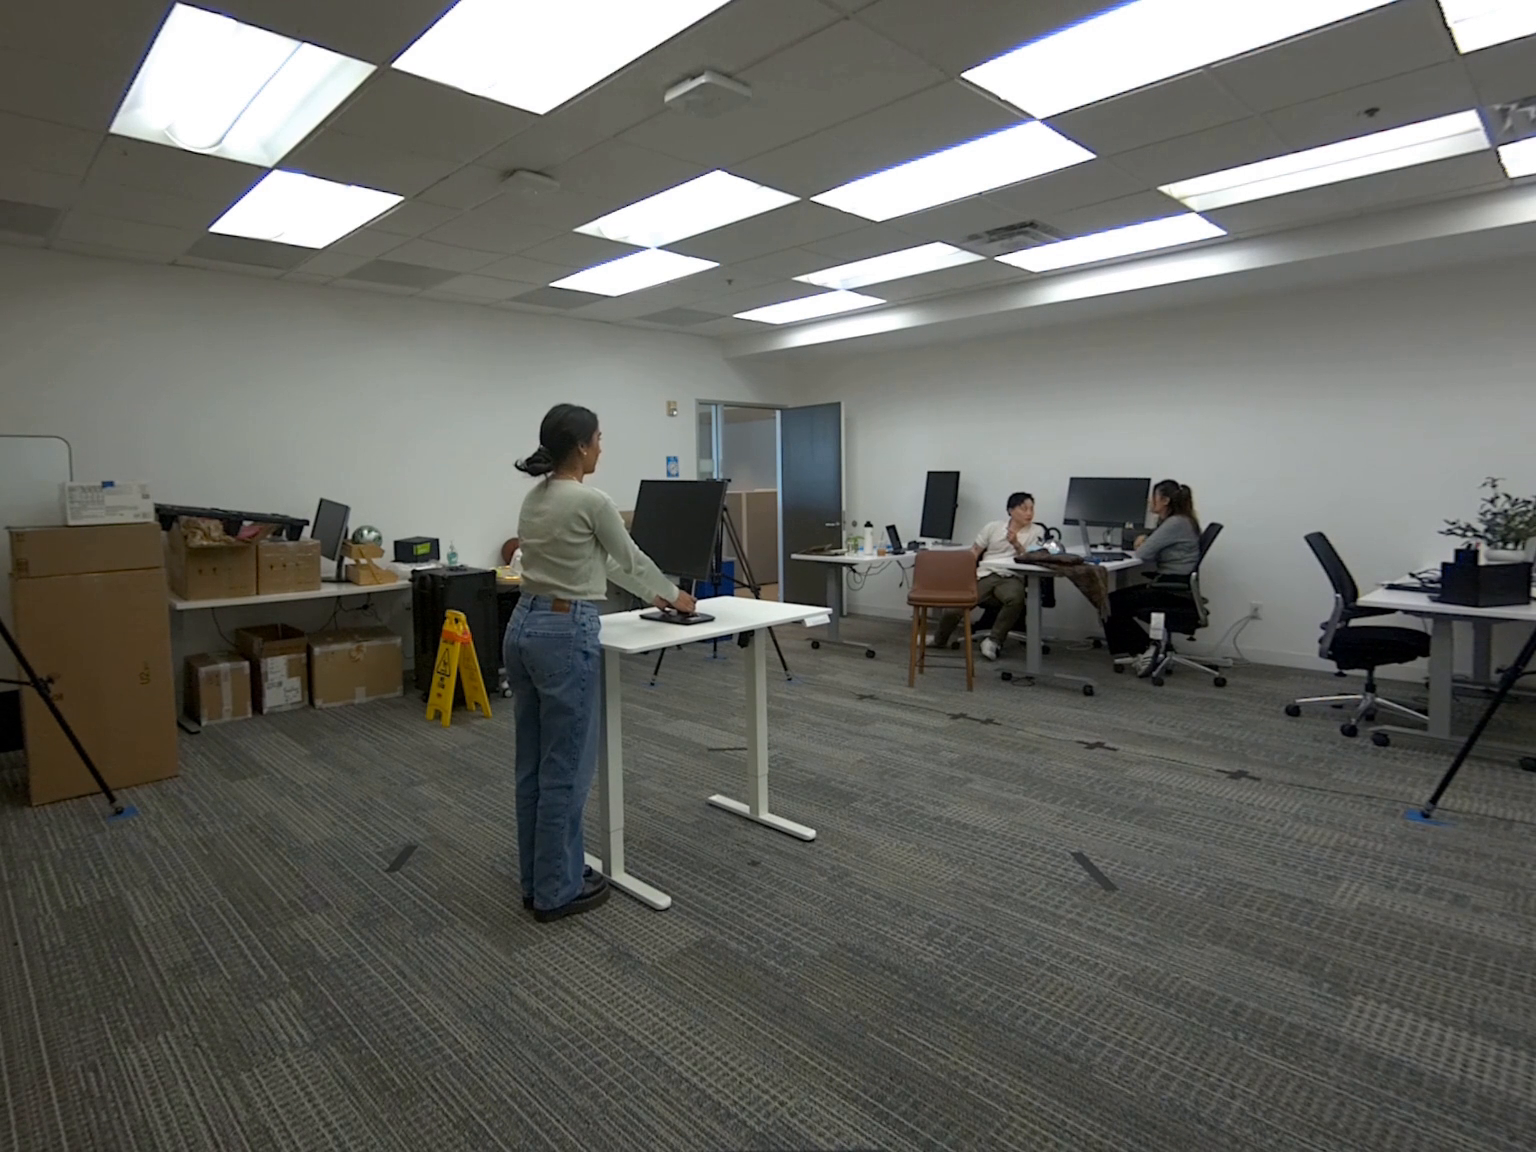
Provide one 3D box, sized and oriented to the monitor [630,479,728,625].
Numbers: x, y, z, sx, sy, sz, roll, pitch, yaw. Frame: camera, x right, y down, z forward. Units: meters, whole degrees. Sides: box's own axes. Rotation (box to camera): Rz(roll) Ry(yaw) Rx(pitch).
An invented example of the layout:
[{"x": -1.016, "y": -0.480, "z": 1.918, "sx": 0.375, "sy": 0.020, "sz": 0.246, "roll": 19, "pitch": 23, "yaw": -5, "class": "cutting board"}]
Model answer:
[{"x": -0.322, "y": -0.093, "z": 3.166, "sx": 0.182, "sy": 0.521, "sz": 0.556, "roll": -3, "pitch": 6, "yaw": -42, "class": "monitor"}]
